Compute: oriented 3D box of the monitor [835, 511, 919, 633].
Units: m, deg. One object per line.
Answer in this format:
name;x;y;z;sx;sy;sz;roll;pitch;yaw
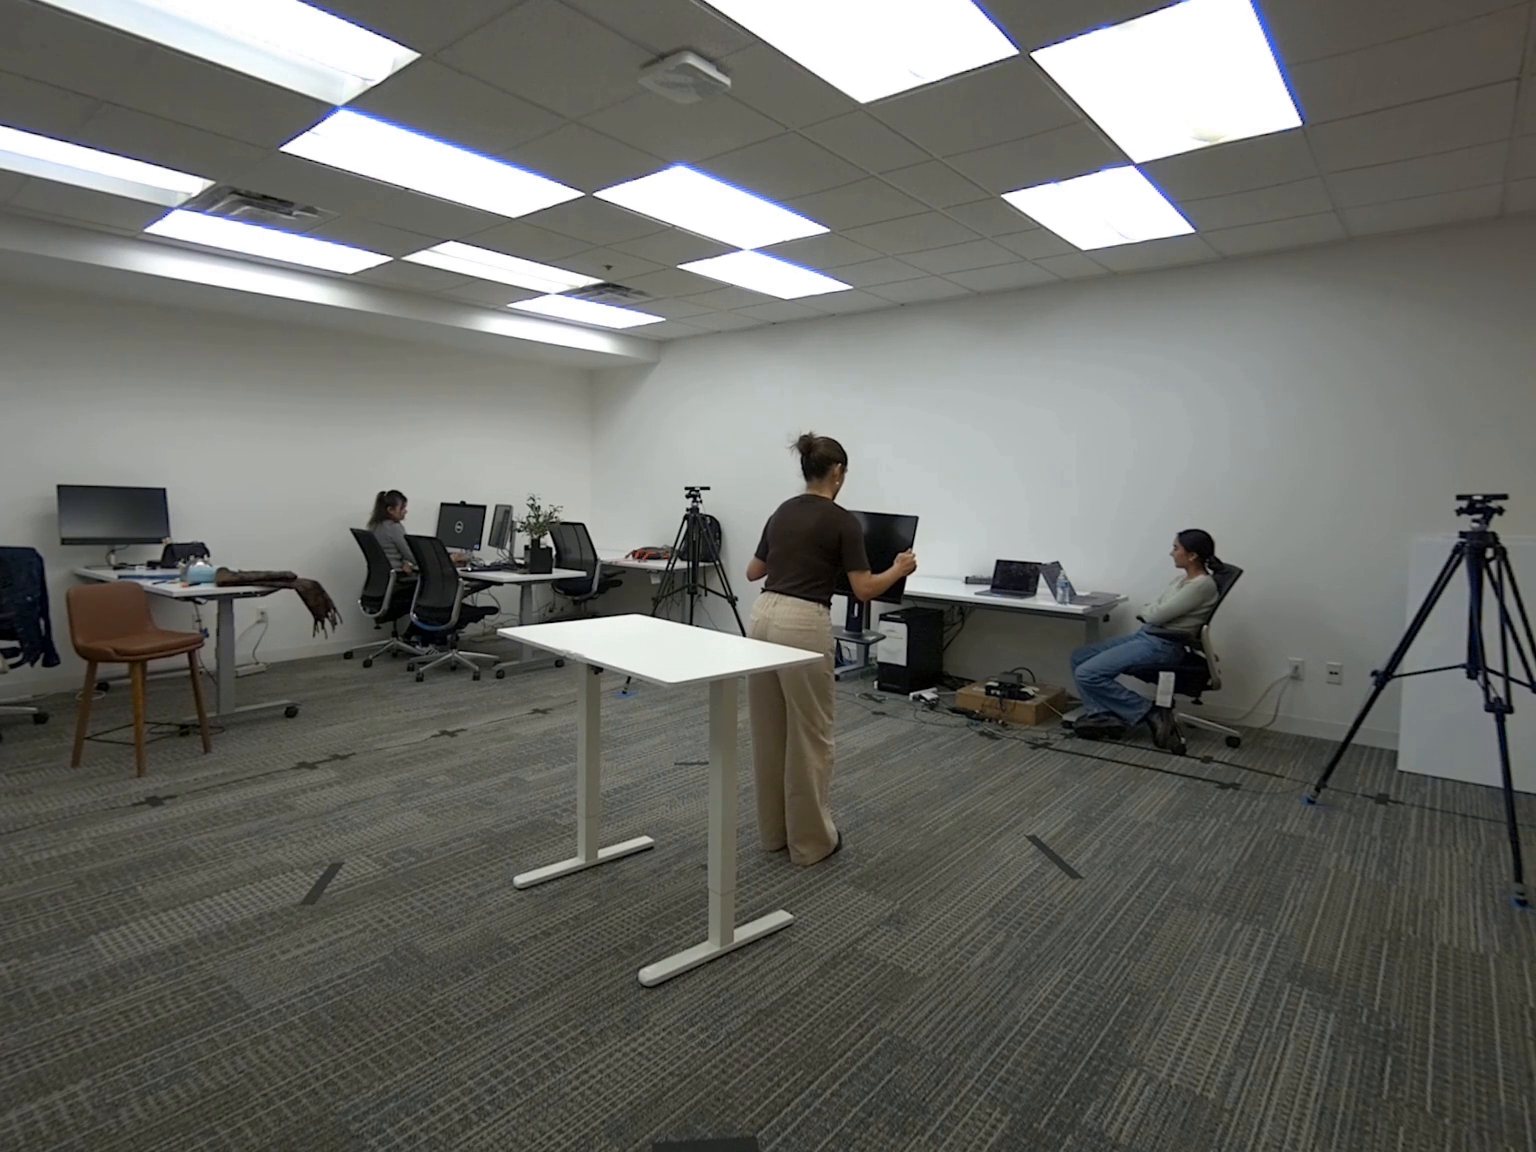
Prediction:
monitor;0.338;-0.005;3.469;0.557;0.520;0.182;8;6;36
